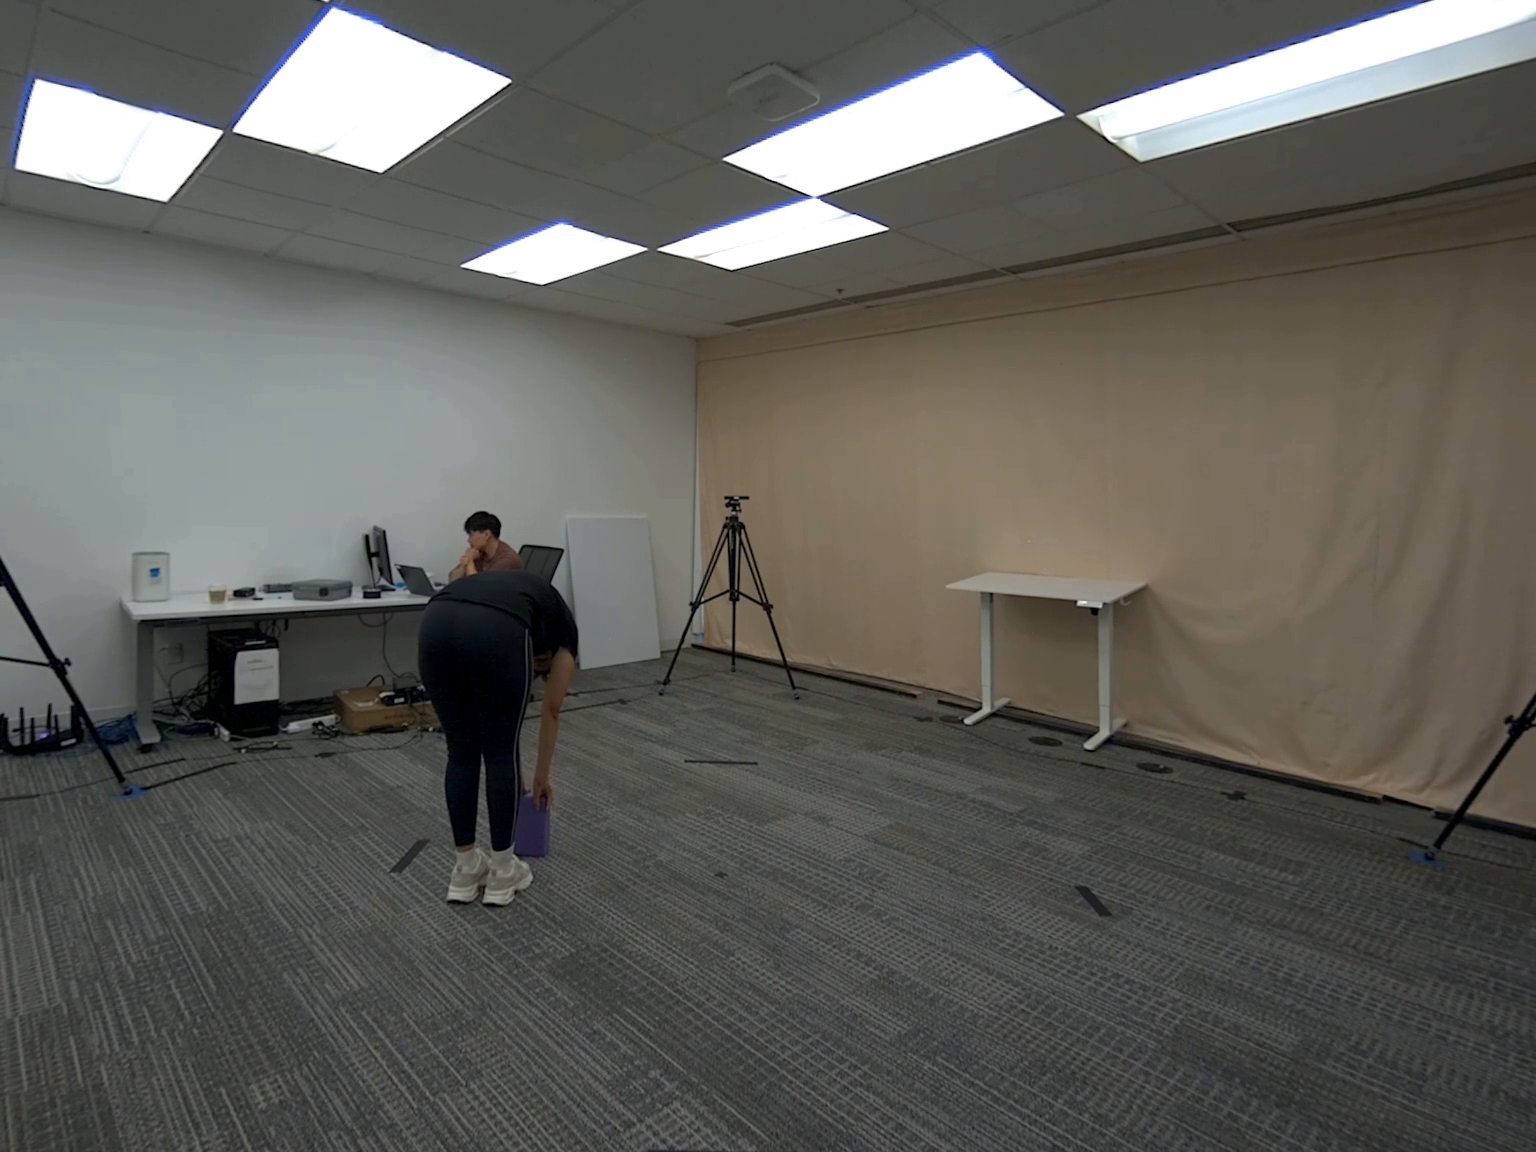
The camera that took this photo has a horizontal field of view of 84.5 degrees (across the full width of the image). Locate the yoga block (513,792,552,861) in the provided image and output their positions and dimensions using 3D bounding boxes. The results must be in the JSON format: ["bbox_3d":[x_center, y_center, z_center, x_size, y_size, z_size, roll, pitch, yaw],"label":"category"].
[{"bbox_3d":[-0.929,0.965,3.254,0.149,0.228,0.076,3,4,5],"label":"yoga block"}]
